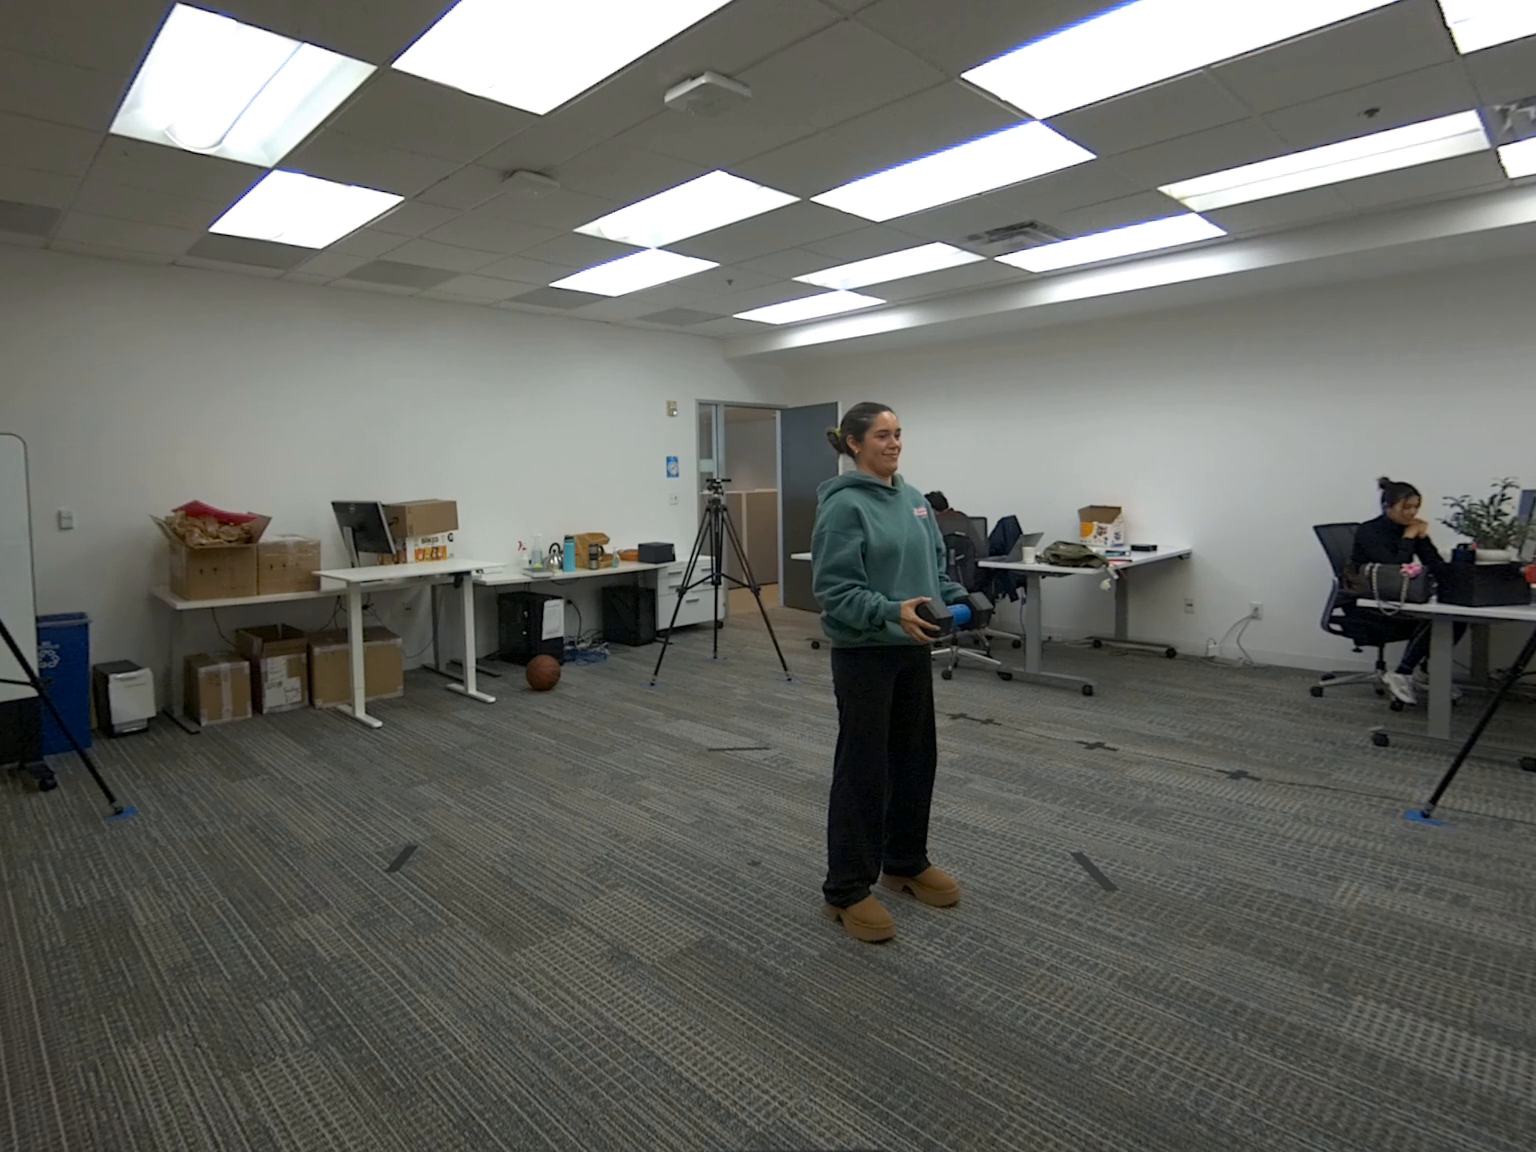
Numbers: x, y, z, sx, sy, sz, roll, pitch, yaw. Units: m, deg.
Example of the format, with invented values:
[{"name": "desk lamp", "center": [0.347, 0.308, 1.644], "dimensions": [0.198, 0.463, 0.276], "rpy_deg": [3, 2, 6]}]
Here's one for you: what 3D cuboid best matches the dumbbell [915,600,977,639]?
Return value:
[{"name": "dumbbell", "center": [0.545, 0.114, 2.566], "dimensions": [0.286, 0.127, 0.108], "rpy_deg": [-6, -36, -42]}]
